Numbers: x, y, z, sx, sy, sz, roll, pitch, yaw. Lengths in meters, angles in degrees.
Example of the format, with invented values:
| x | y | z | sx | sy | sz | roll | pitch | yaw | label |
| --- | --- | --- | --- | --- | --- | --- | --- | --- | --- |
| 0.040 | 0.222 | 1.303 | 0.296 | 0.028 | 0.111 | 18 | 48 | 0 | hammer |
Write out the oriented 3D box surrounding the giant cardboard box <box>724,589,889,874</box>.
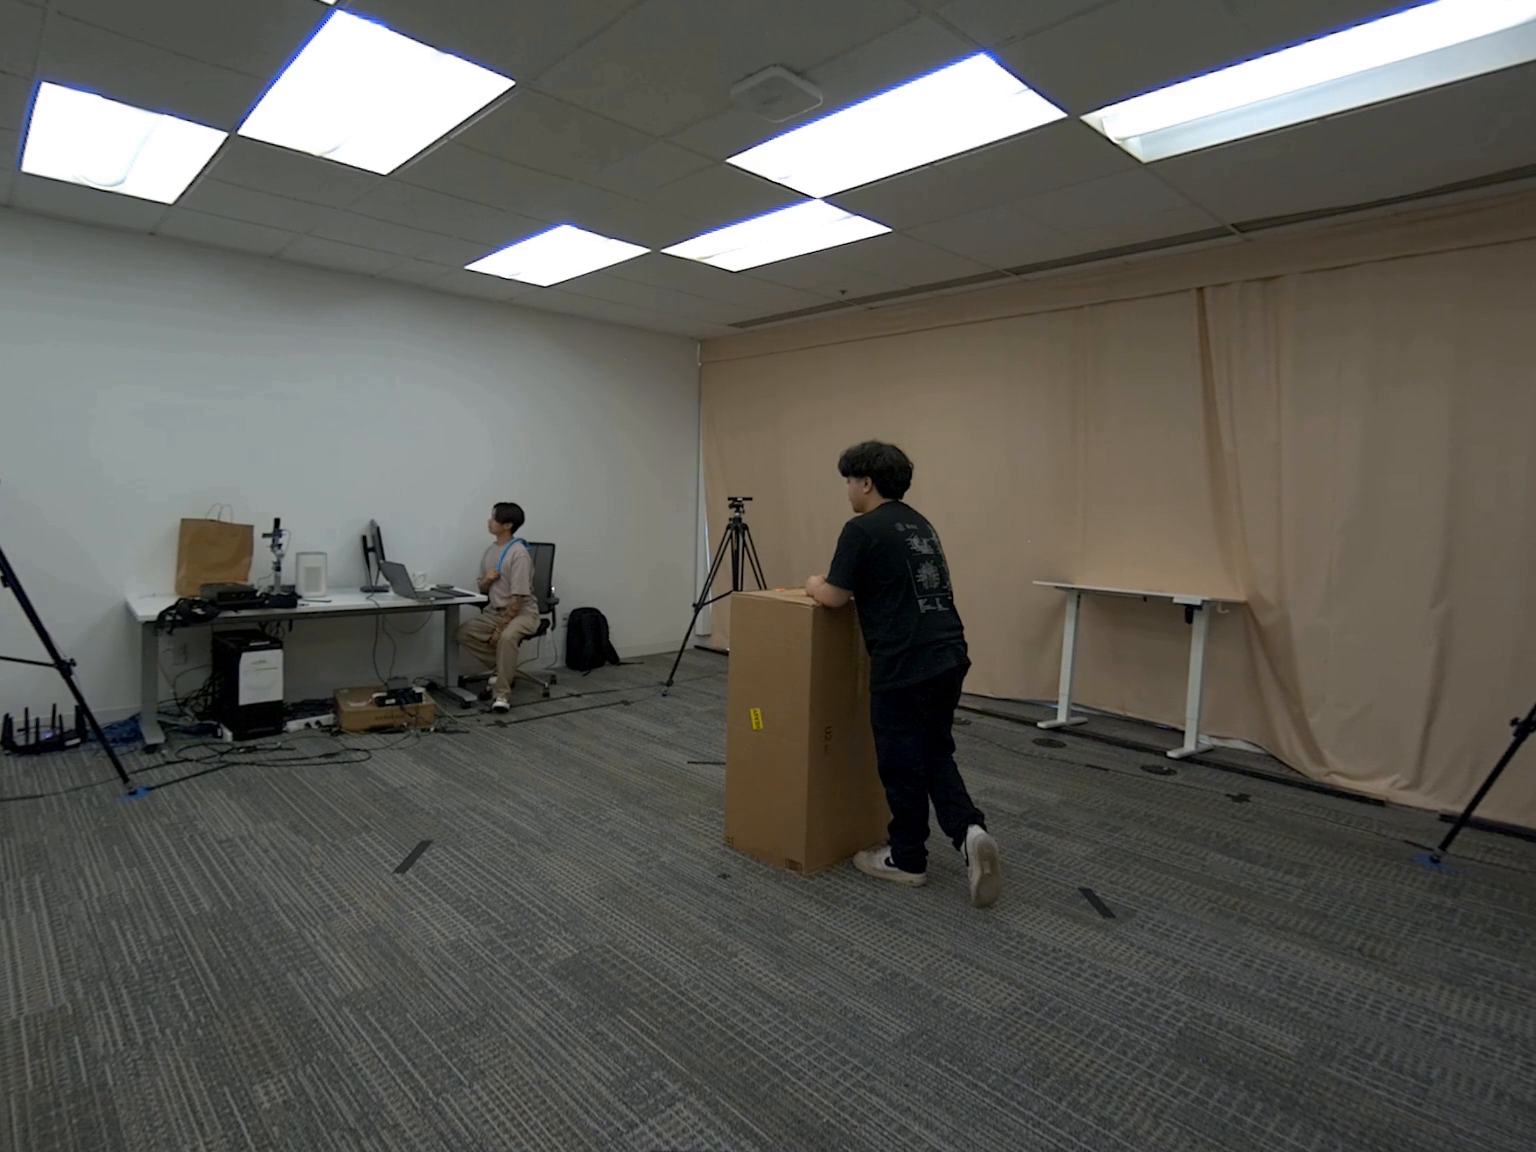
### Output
| x | y | z | sx | sy | sz | roll | pitch | yaw | label |
| --- | --- | --- | --- | --- | --- | --- | --- | --- | --- |
| 0.172 | 0.577 | 3.438 | 0.458 | 1.025 | 0.570 | 3 | 3 | 44 | giant cardboard box |
